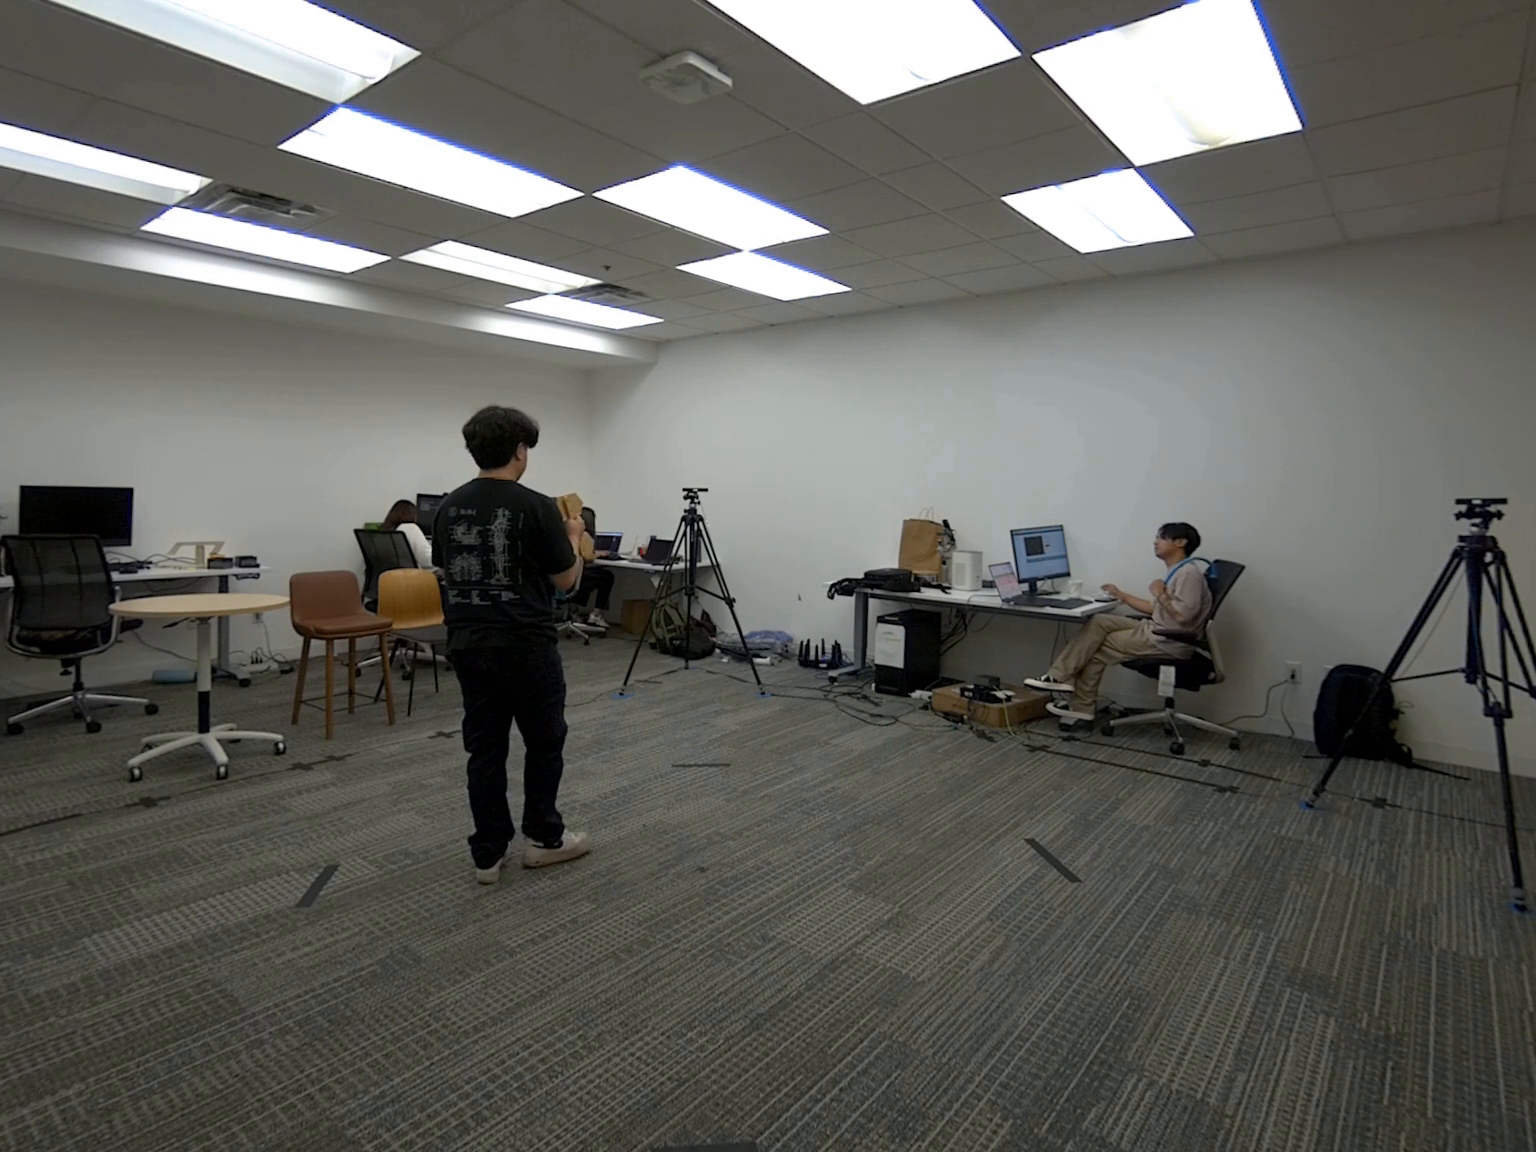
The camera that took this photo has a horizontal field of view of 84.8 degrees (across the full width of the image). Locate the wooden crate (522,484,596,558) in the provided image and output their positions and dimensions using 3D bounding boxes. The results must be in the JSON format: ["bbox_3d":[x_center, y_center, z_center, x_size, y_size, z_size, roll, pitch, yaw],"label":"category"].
[{"bbox_3d":[-0.911,-0.210,3.353,0.330,0.270,0.300,2,12,16],"label":"wooden crate"}]
